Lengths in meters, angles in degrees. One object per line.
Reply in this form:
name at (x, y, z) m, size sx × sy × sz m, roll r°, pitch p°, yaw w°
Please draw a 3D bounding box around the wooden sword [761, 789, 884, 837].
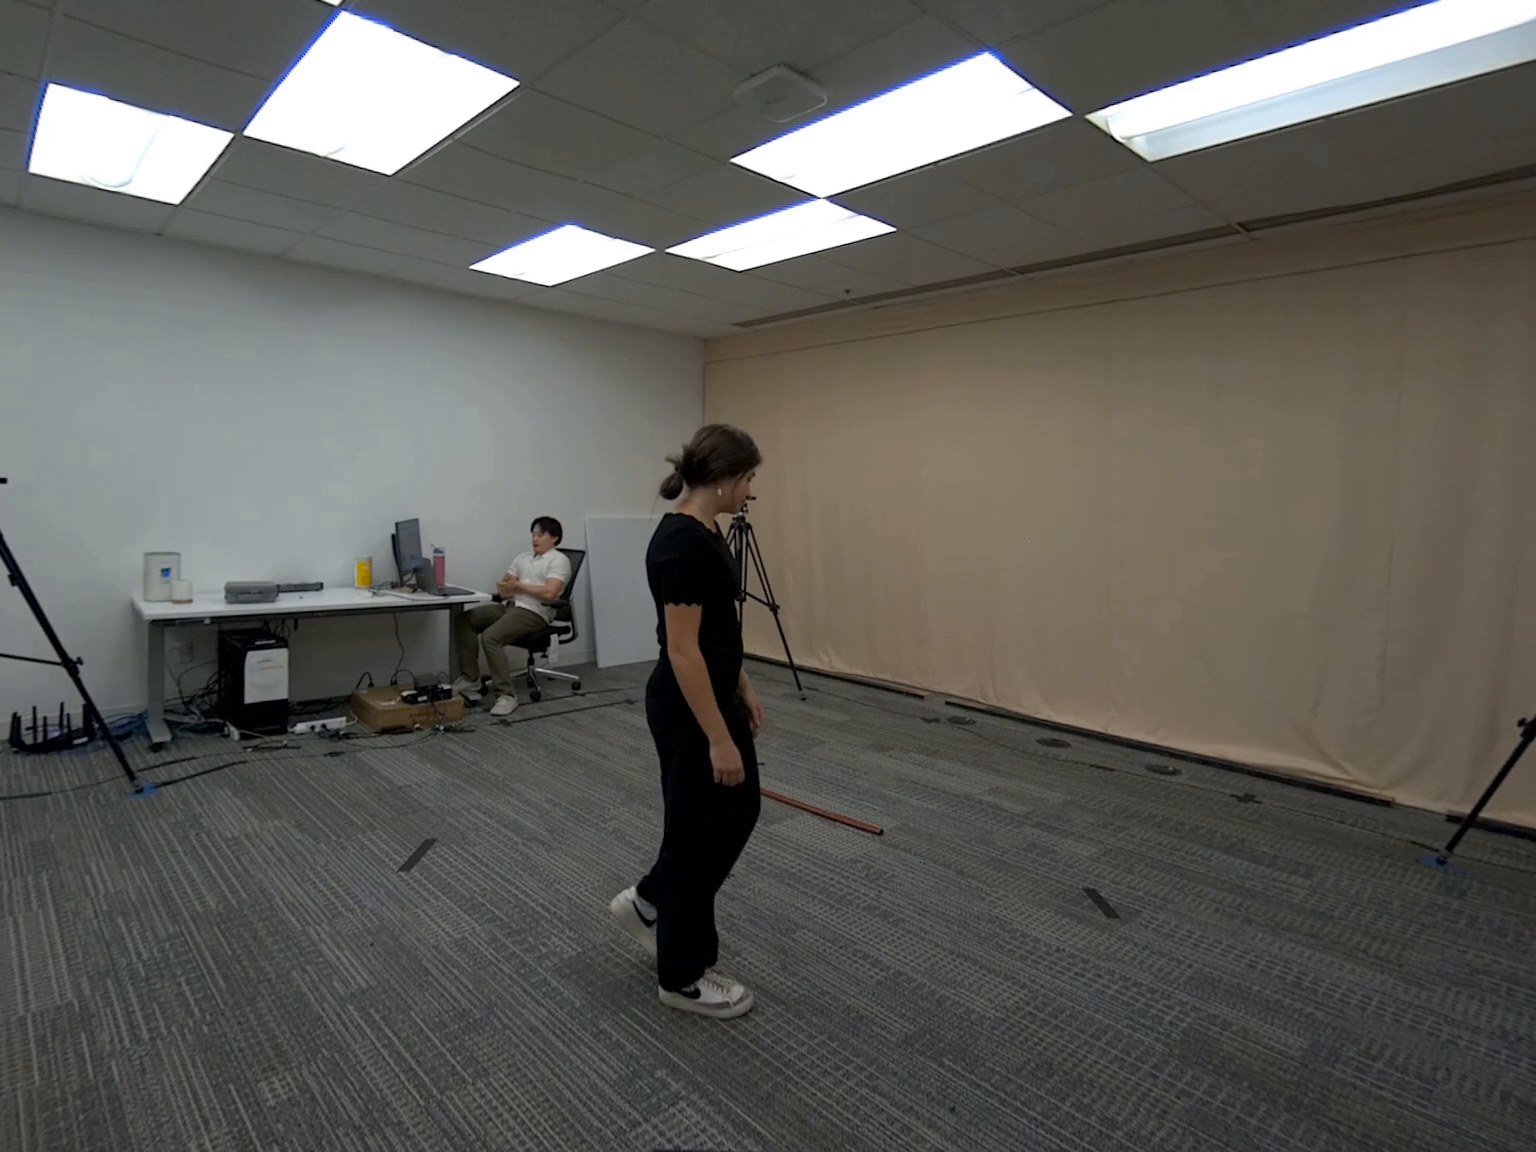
wooden sword at (0.072, 1.023, 3.873) m, size 1.051 × 0.024 × 0.050 m, roll 7°, pitch 20°, yaw 44°
